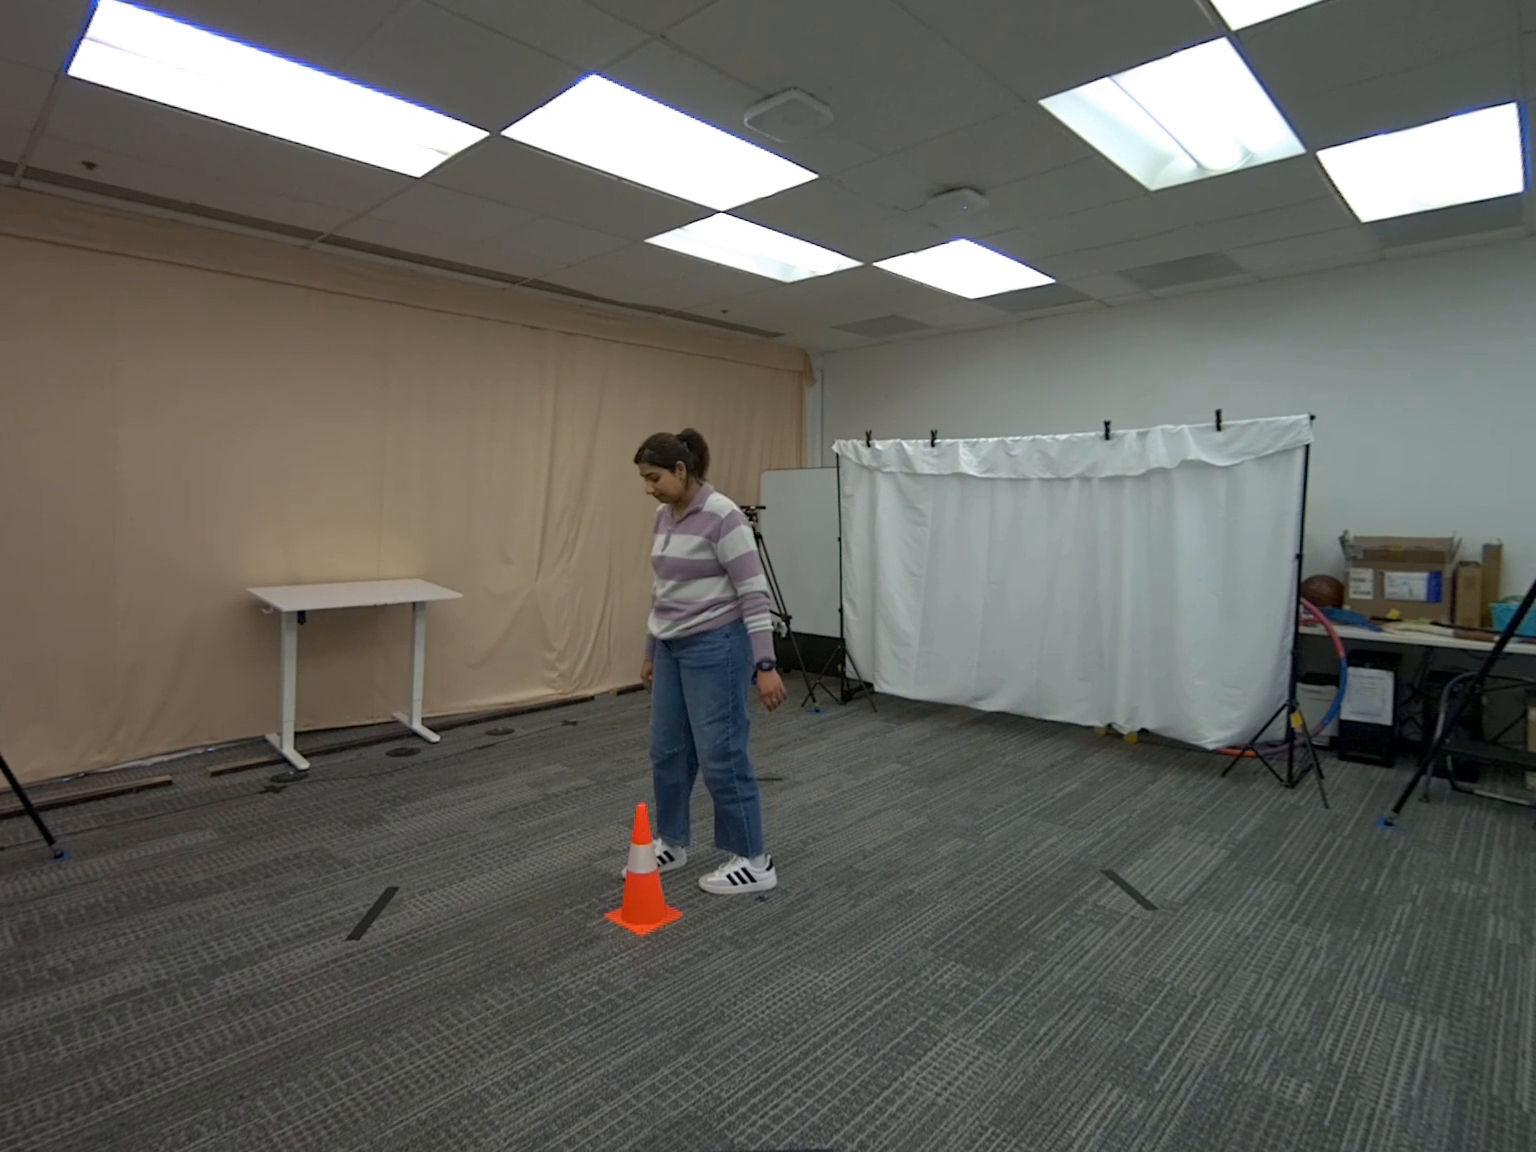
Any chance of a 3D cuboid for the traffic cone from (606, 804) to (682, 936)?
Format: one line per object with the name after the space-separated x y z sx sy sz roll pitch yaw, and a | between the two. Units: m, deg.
-0.419 0.964 2.864 0.210 0.383 0.199 3 4 42 | traffic cone
